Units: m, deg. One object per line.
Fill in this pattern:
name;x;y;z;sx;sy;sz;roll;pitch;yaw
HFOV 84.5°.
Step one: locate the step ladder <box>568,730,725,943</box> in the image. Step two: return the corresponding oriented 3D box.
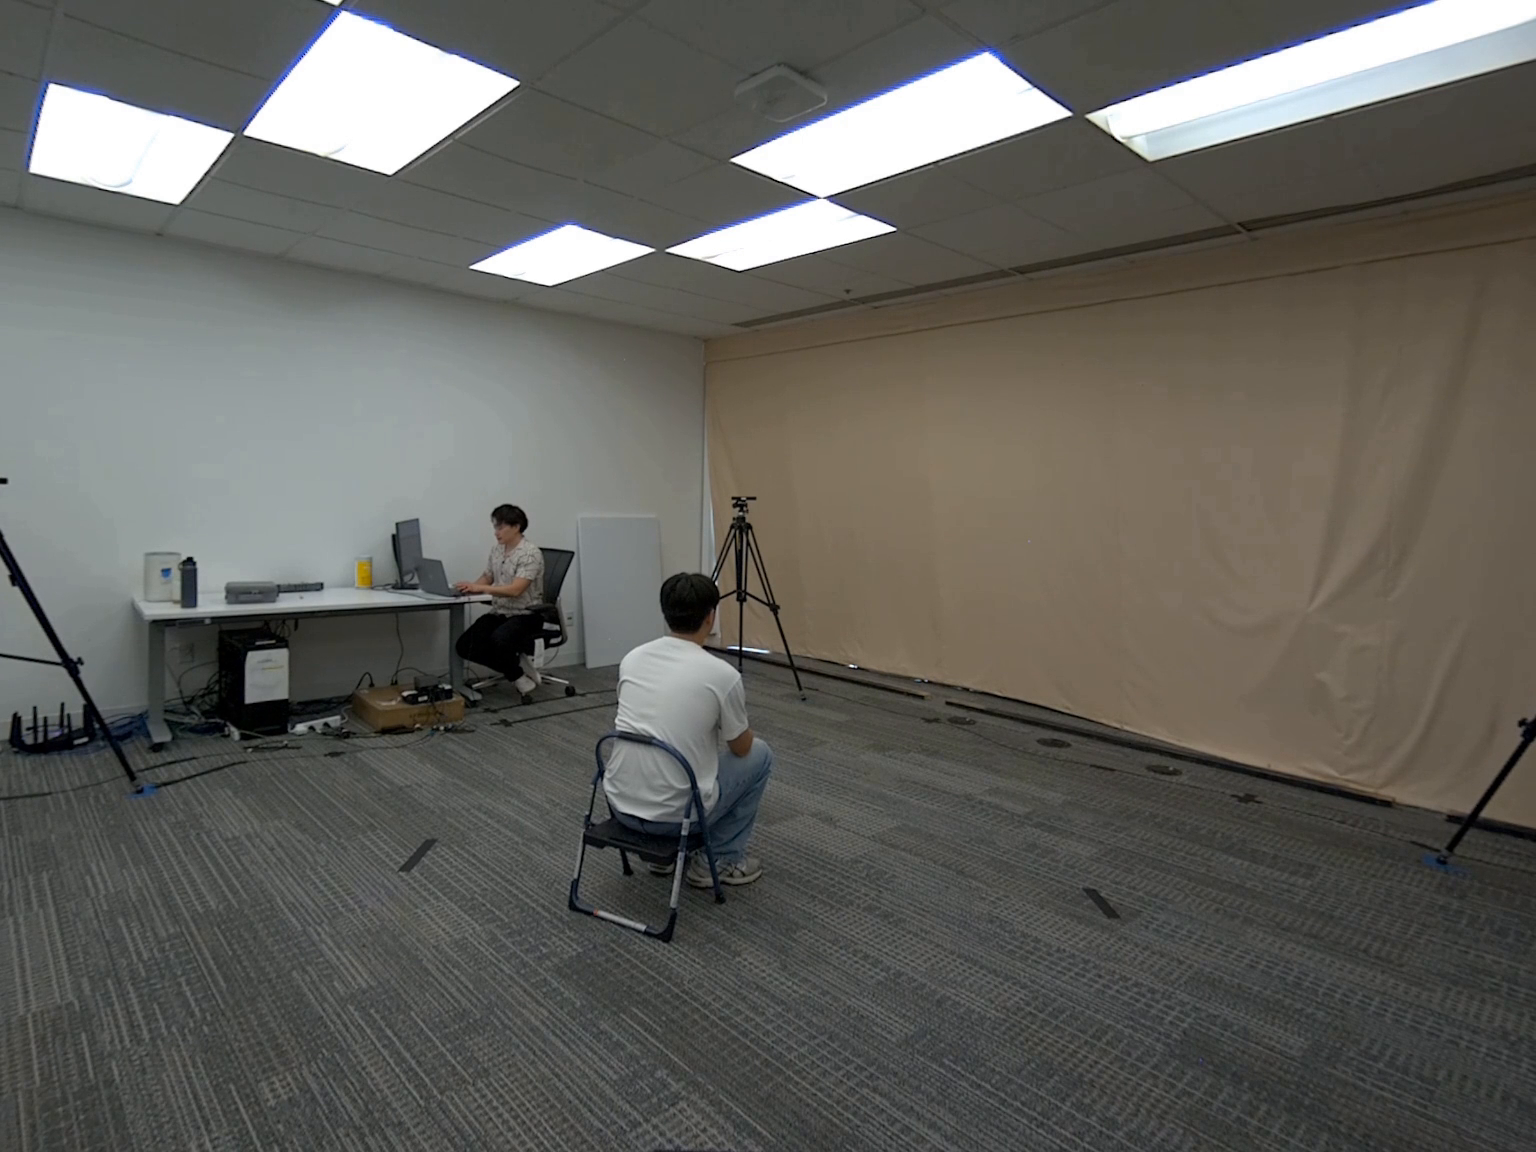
step ladder;-0.418;0.825;2.849;0.440;0.604;0.343;3;4;29
